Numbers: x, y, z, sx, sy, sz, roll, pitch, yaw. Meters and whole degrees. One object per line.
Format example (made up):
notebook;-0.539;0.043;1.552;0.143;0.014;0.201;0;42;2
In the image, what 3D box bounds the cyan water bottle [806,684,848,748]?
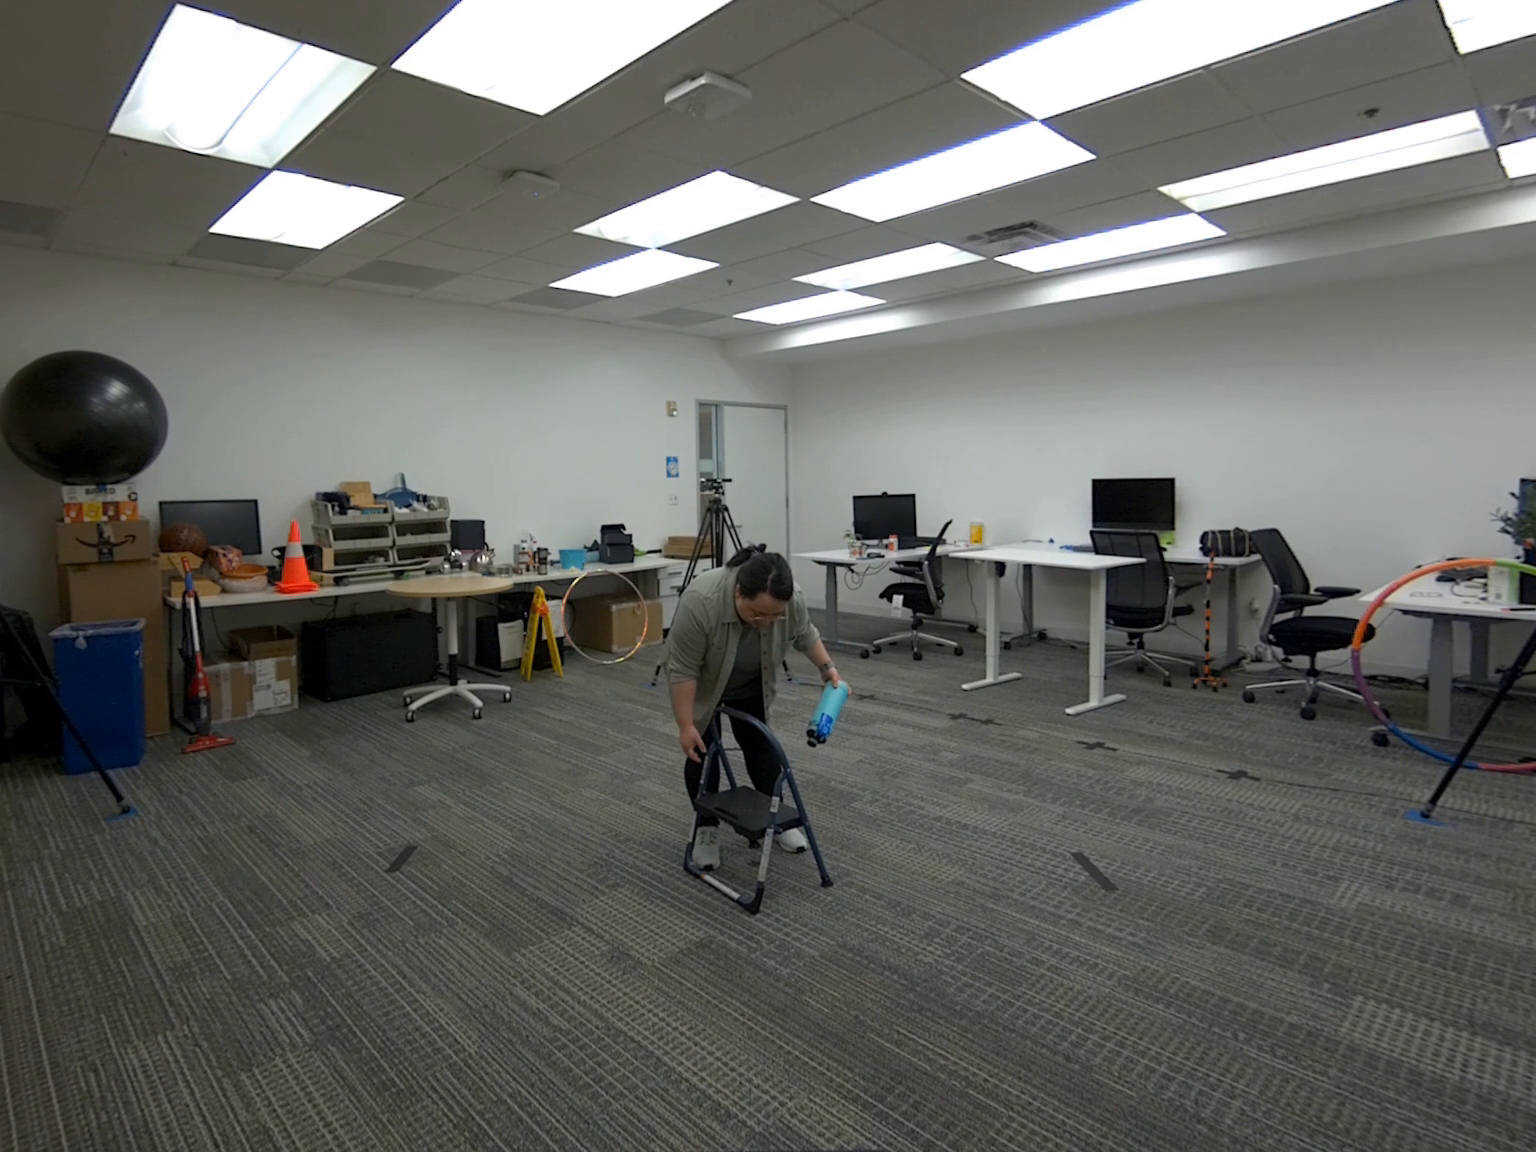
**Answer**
cyan water bottle;0.221;0.509;3.158;0.095;0.089;0.285;1;38;29
